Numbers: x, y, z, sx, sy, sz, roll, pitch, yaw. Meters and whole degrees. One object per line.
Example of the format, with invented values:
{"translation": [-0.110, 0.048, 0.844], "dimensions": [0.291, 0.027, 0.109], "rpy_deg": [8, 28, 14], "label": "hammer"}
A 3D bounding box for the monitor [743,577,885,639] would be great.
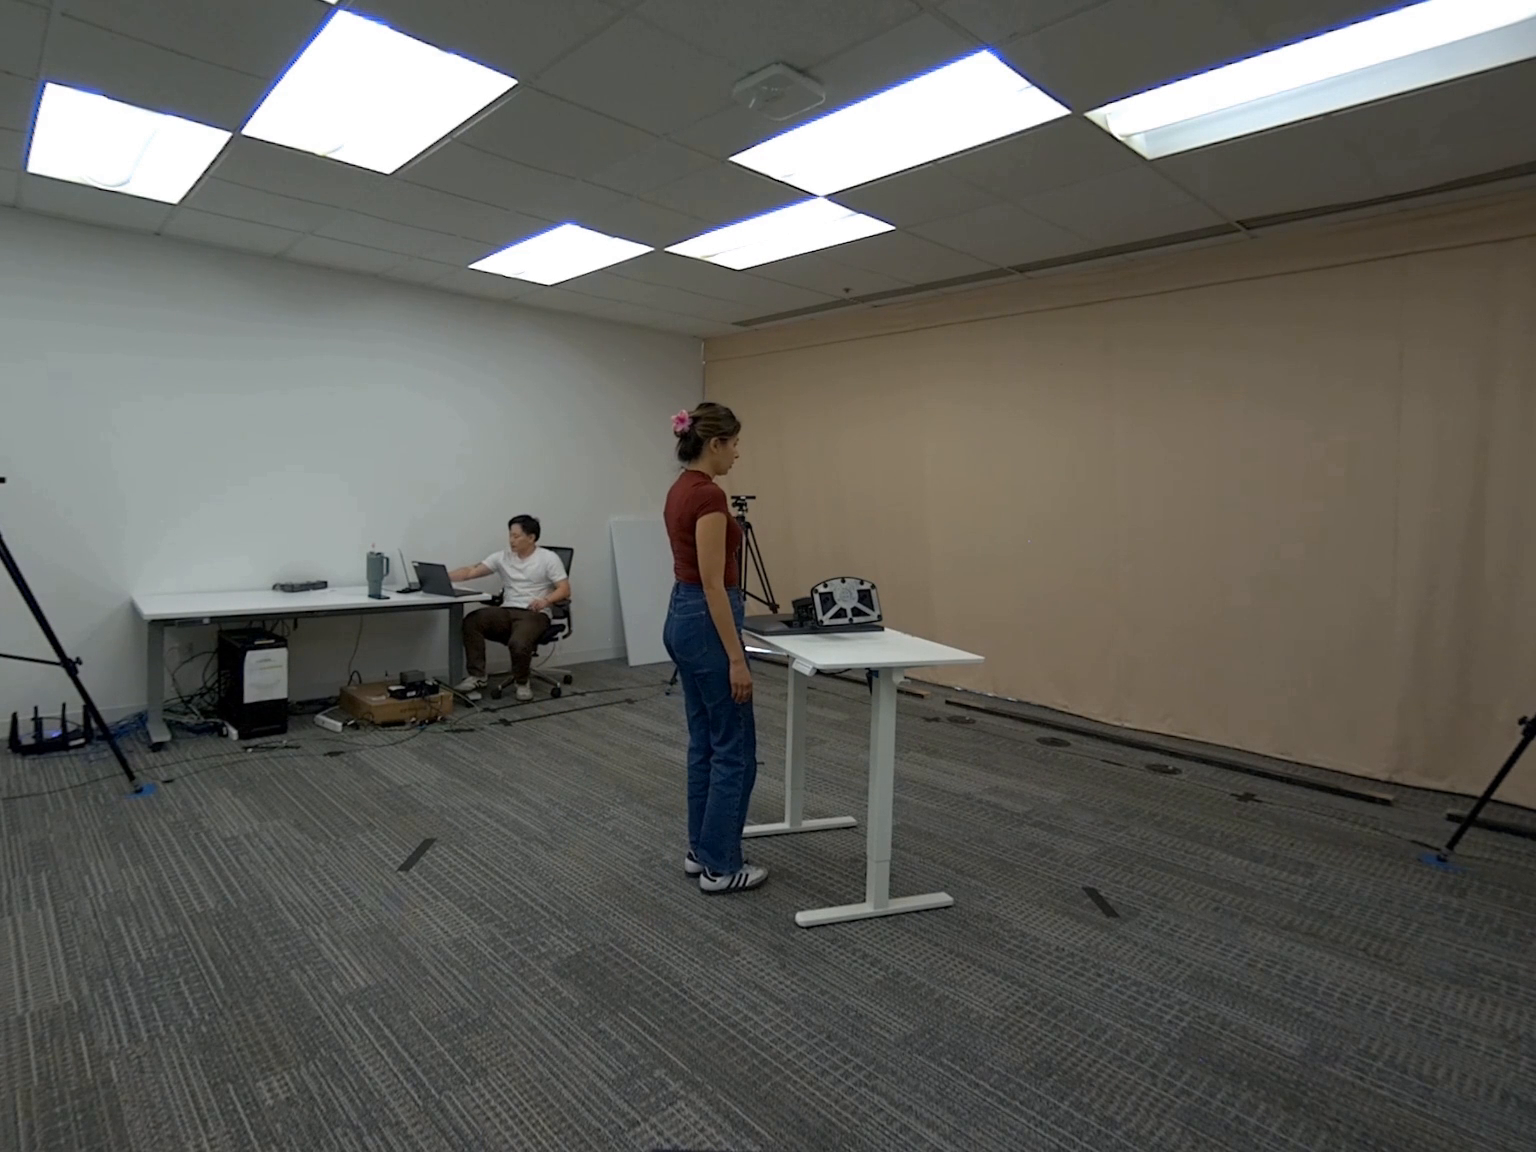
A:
{"translation": [0.169, 0.149, 3.298], "dimensions": [0.529, 0.189, 0.527], "rpy_deg": [1, -12, -25], "label": "monitor"}
